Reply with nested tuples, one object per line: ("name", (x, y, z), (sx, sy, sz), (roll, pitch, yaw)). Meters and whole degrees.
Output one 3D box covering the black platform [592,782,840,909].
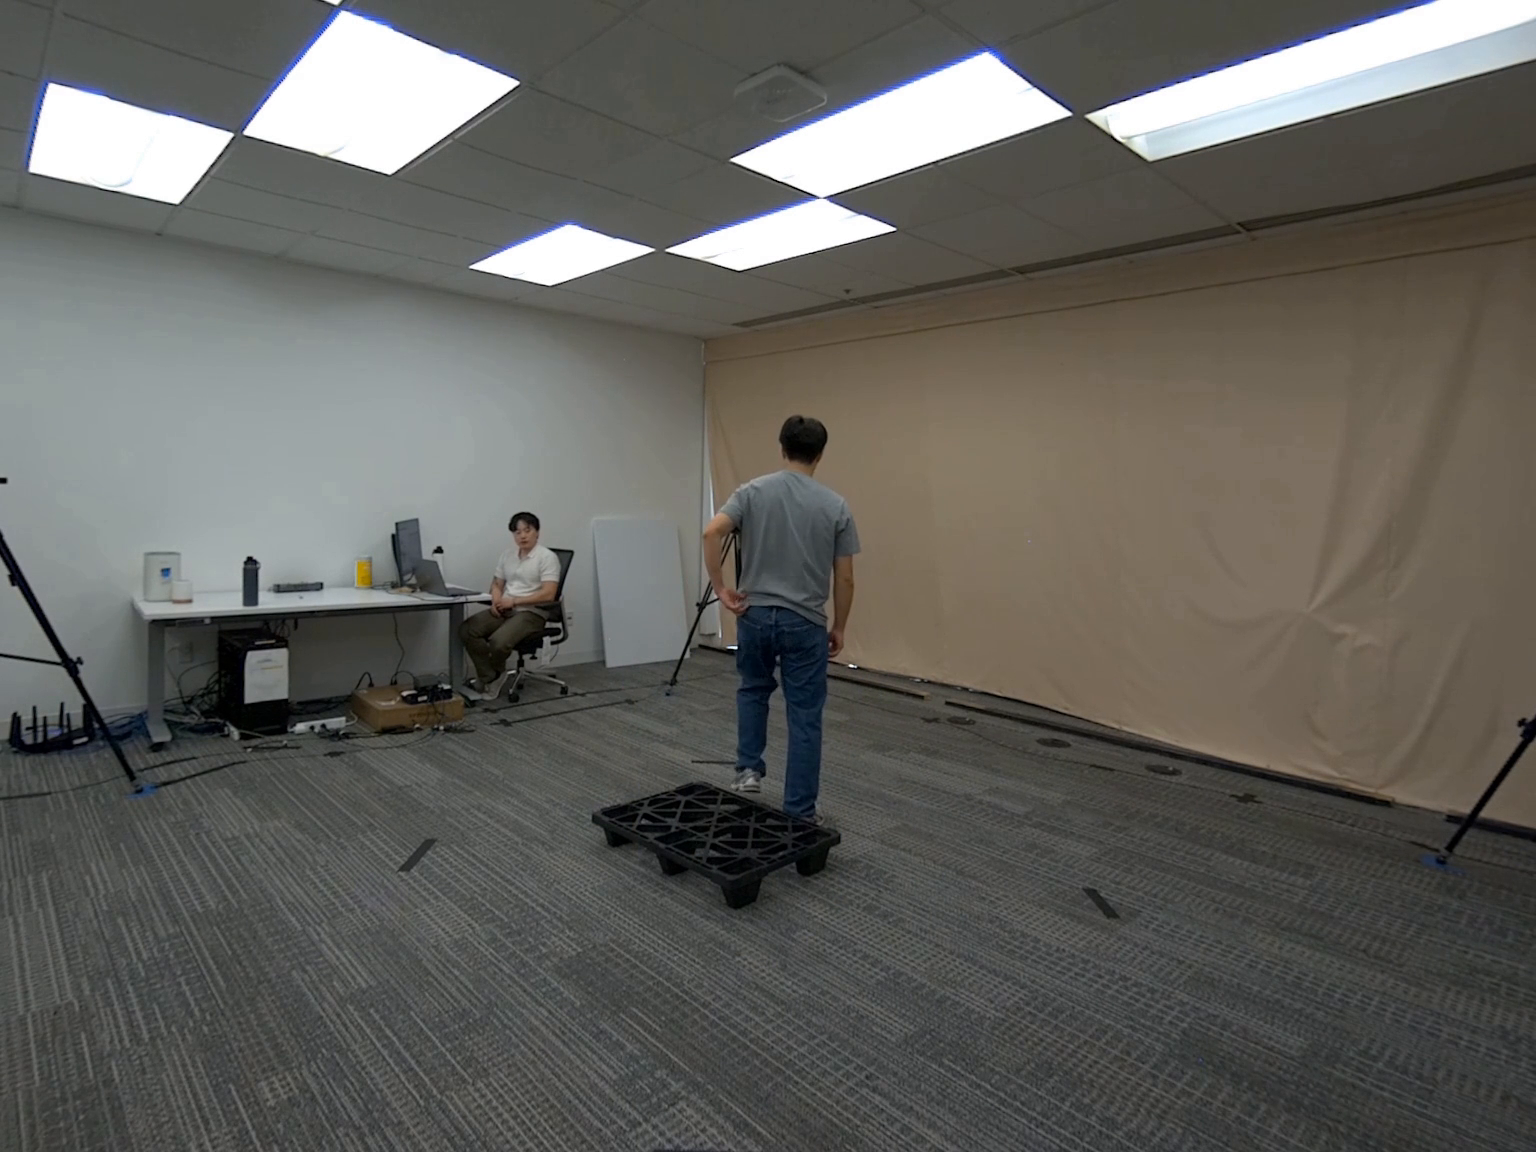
("black platform", (-0.223, 1.024, 3.264), (0.826, 0.143, 0.591), (6, 7, 44))
